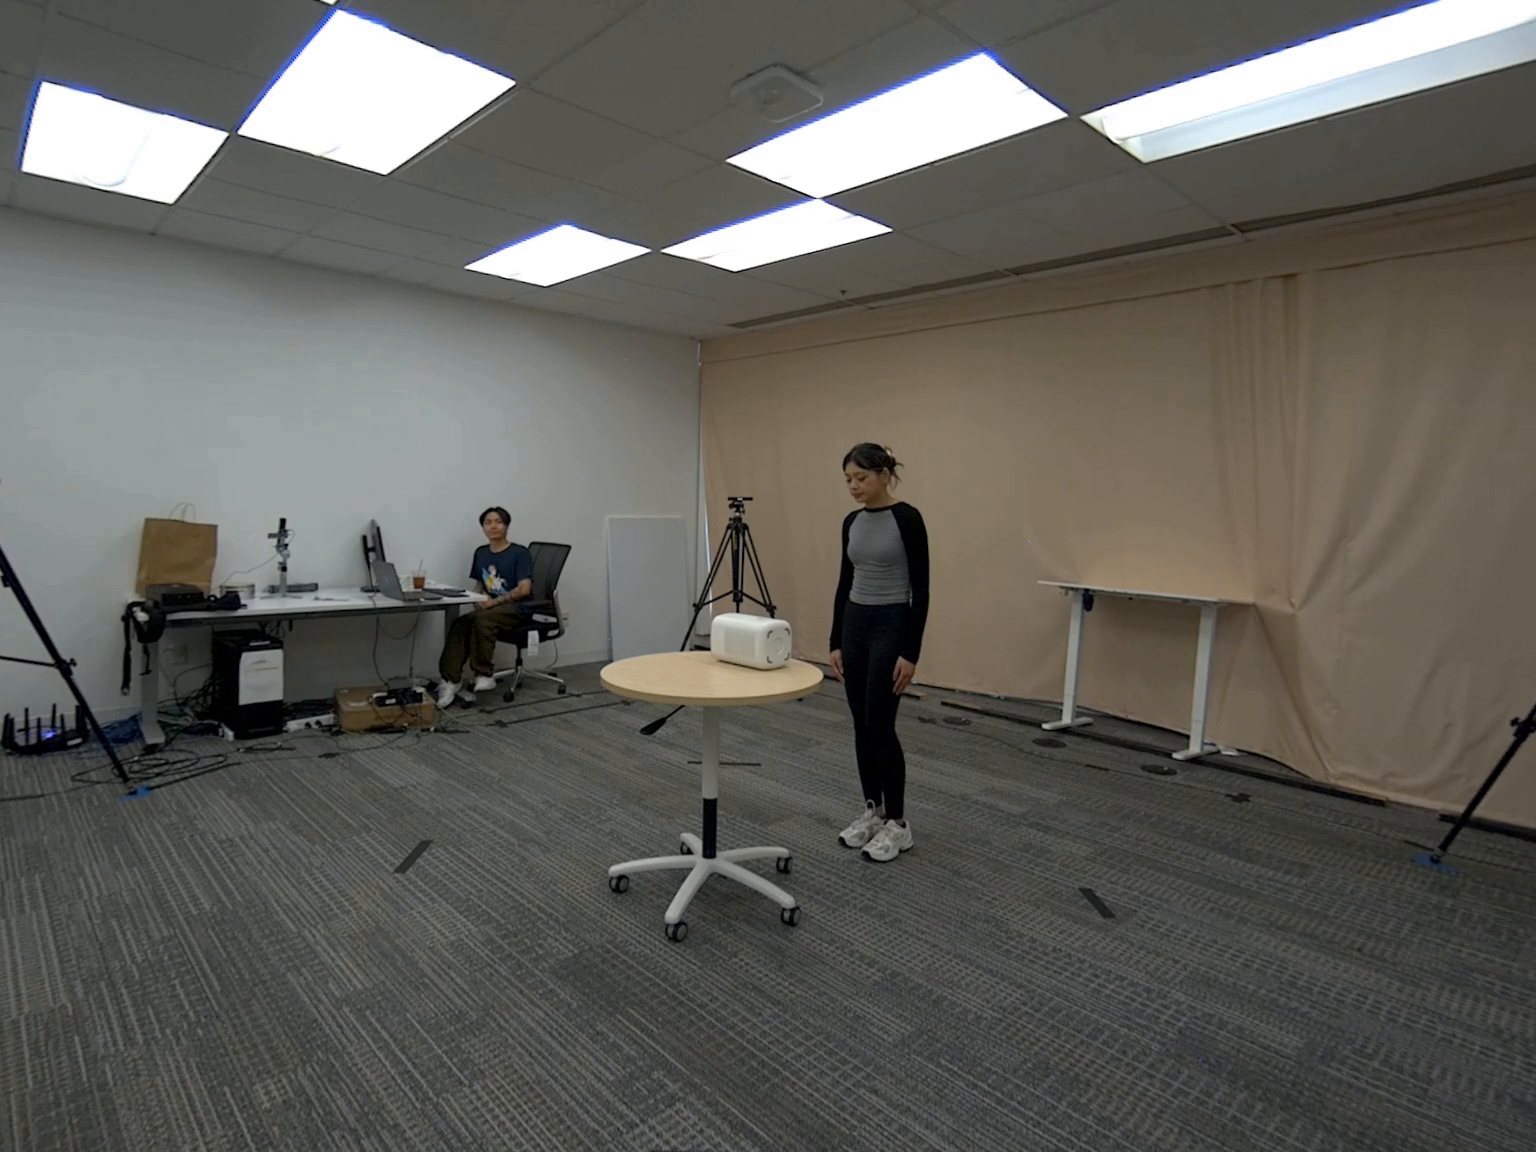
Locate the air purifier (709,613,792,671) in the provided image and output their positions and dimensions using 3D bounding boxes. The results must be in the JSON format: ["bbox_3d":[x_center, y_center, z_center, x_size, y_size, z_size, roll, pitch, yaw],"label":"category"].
[{"bbox_3d":[-0.063,0.232,3.034,0.272,0.171,0.167,6,6,45],"label":"air purifier"}]
